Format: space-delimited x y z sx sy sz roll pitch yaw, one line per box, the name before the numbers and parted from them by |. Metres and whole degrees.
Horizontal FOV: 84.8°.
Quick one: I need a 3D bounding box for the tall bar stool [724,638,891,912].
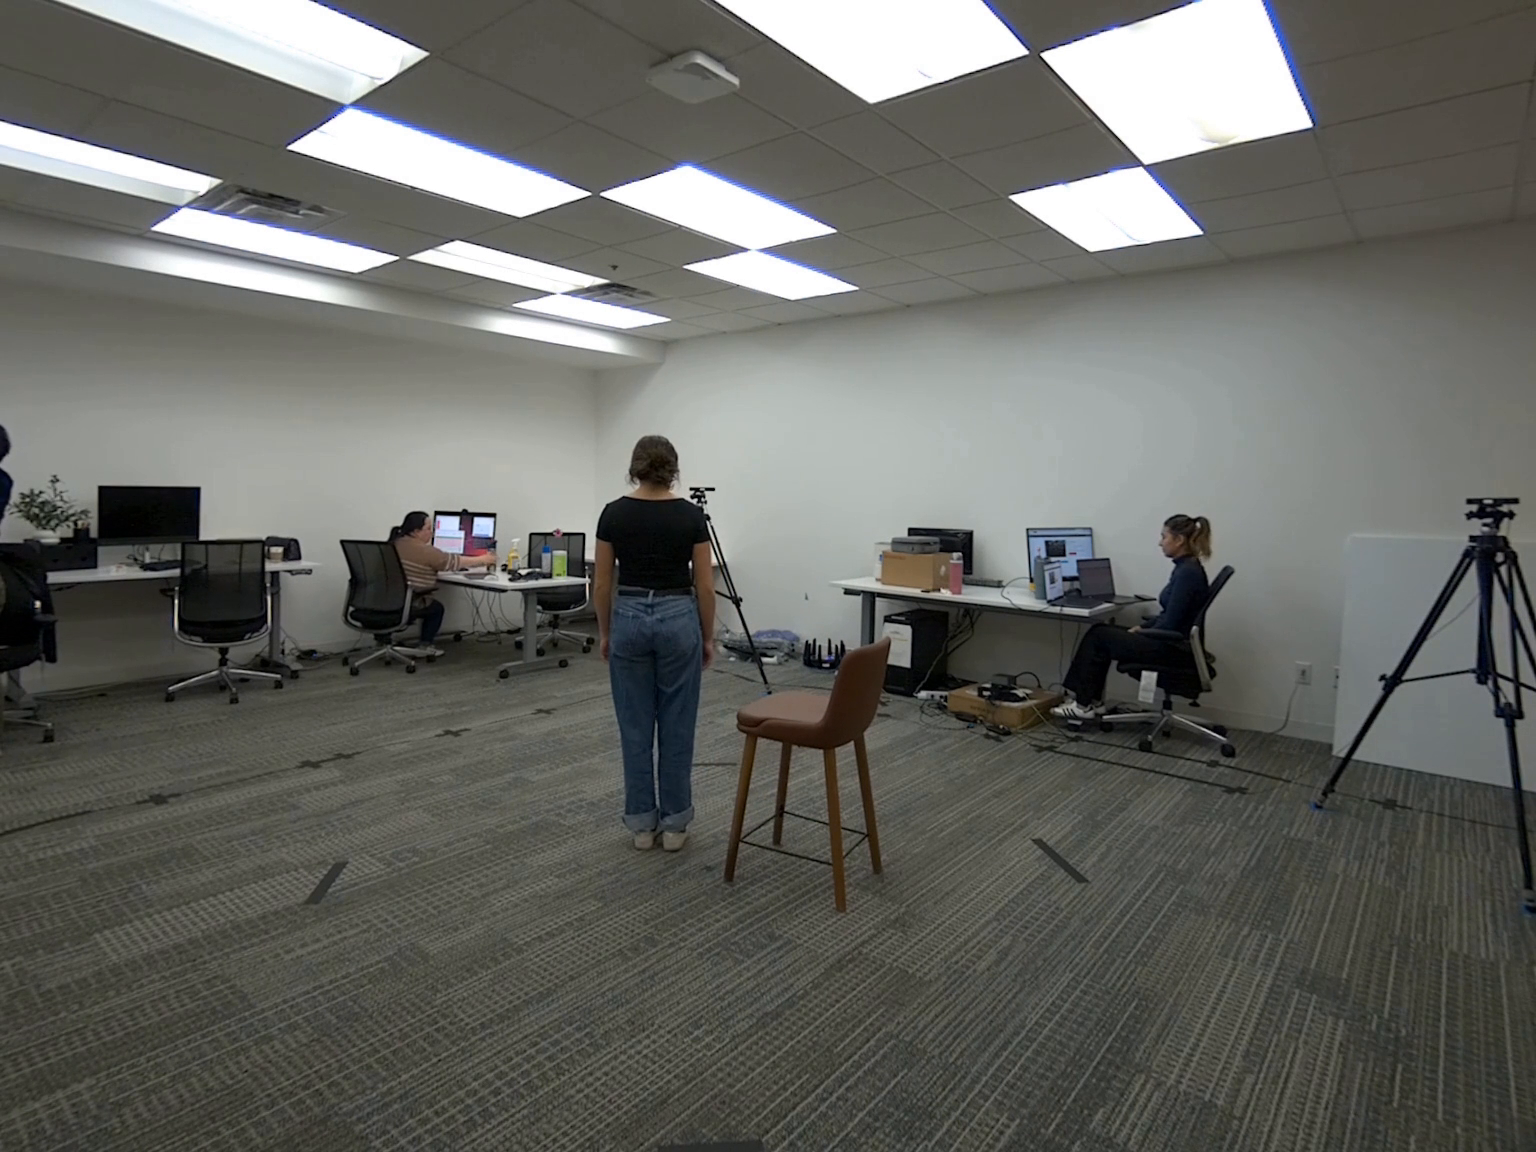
tall bar stool | 0.142 0.645 3.047 0.482 0.886 0.445 5 5 29
